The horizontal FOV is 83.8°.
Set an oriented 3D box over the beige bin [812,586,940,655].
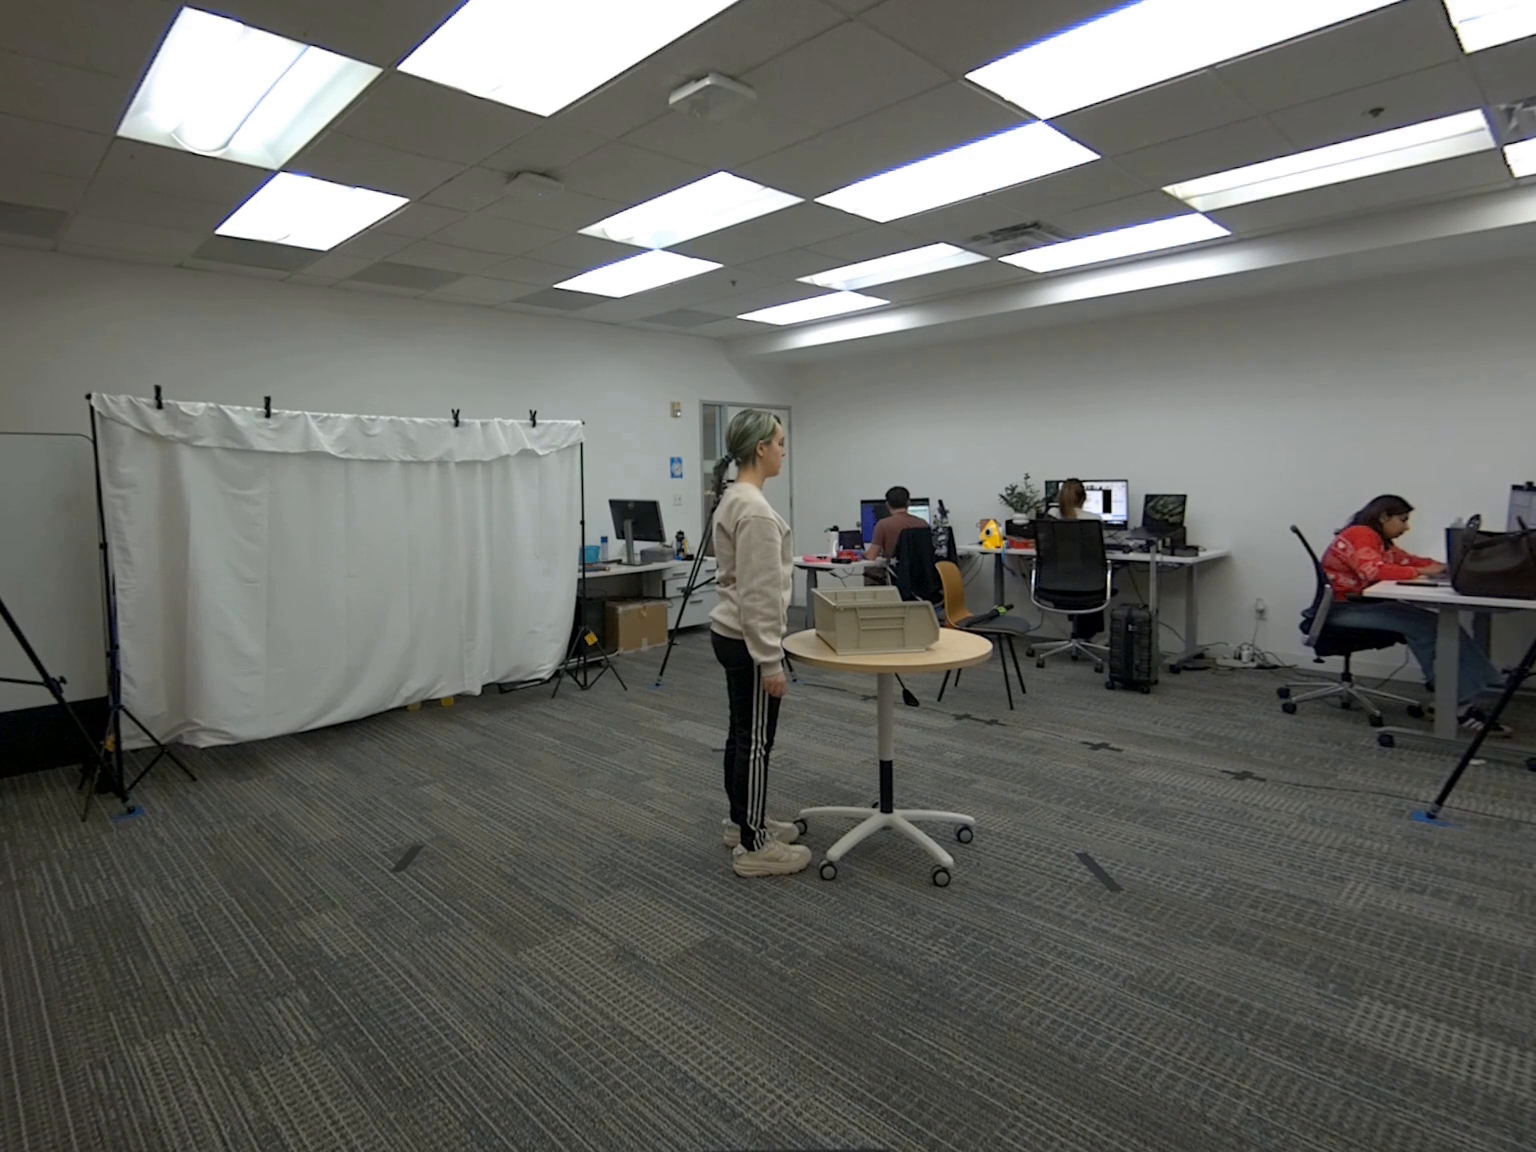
[{"bbox_3d":[0.382,0.159,3.168,0.375,0.188,0.427,-3,7,-7],"label":"beige bin"}]
